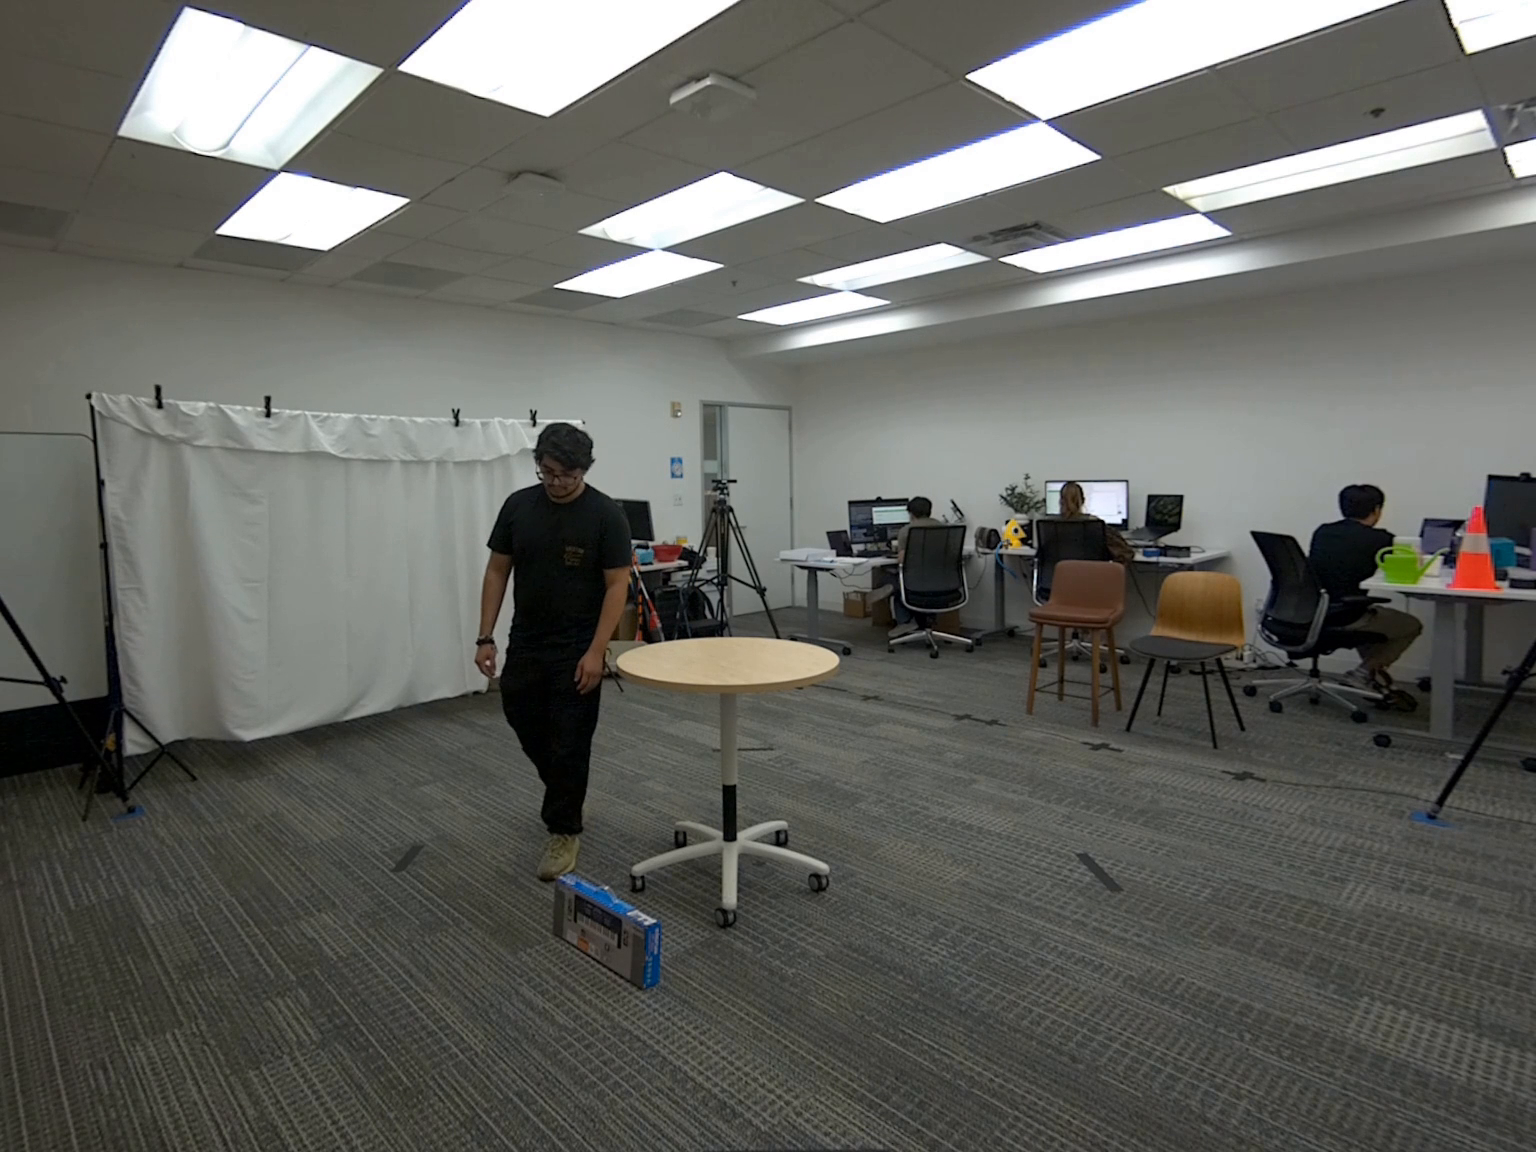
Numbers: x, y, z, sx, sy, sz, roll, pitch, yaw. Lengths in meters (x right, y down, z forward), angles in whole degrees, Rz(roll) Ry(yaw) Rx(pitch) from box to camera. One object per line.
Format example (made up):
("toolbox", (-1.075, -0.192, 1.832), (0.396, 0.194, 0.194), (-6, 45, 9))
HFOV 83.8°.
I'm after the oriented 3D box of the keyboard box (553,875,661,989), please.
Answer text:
("keyboard box", (-0.481, 1.040, 2.520), (0.450, 0.176, 0.057), (5, 2, 43))
